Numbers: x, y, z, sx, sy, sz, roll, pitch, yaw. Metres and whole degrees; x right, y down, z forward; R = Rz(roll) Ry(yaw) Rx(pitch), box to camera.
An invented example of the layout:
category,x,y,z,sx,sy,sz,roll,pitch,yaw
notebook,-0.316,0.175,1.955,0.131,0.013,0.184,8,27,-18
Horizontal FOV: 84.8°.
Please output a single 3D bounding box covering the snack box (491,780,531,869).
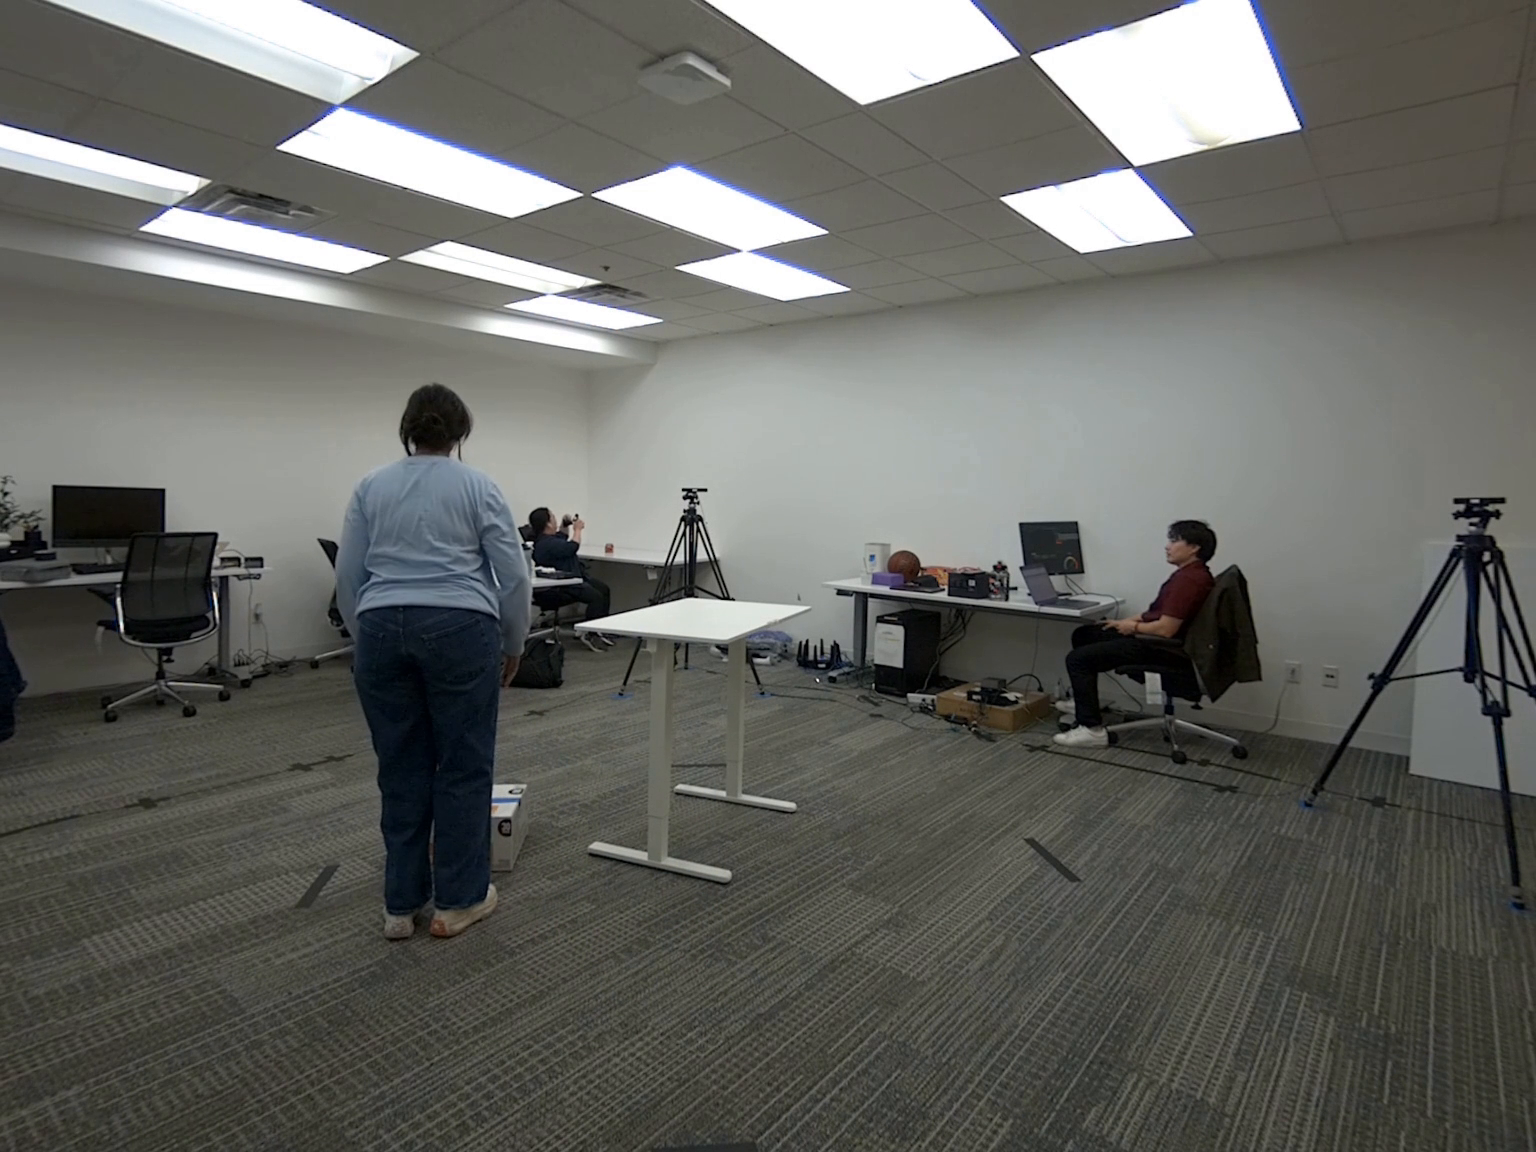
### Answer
category,x,y,z,sx,sy,sz,roll,pitch,yaw
snack box,-1.140,0.939,3.202,0.403,0.205,0.343,0,5,-5
